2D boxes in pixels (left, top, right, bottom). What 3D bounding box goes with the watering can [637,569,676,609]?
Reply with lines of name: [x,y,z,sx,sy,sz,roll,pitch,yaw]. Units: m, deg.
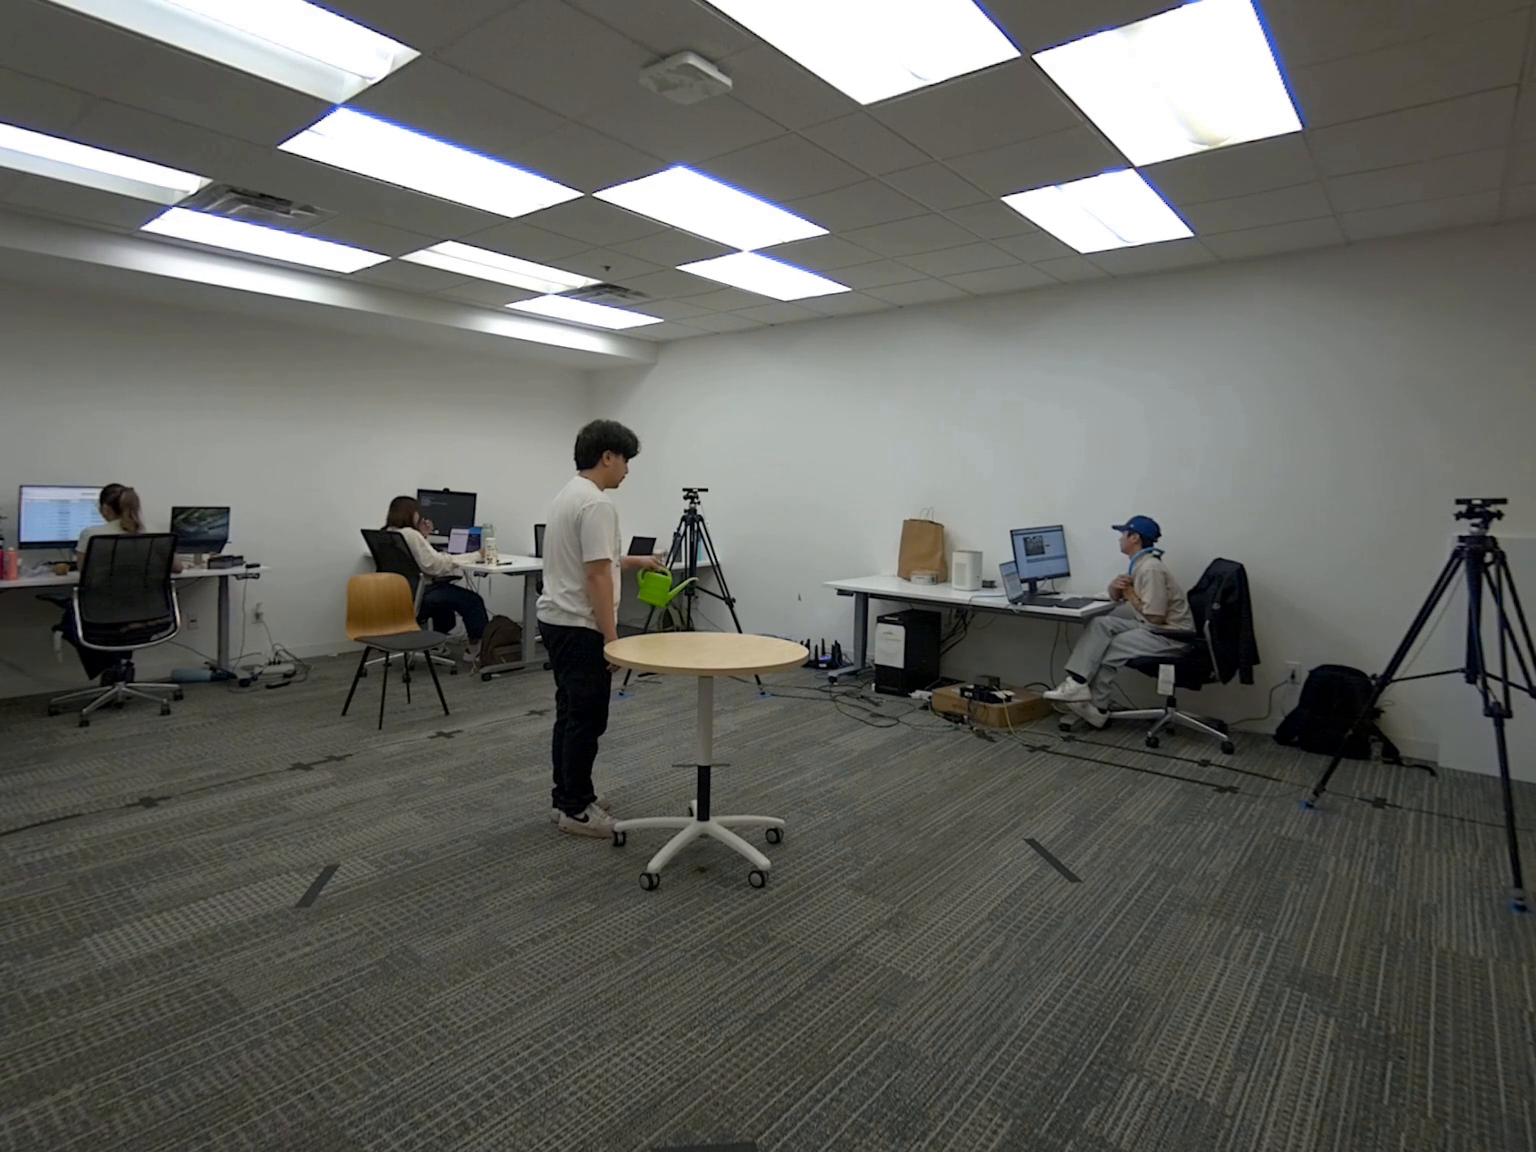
watering can: [-0.482,0.060,3.834,0.276,0.177,0.098,19,-4,-6]
